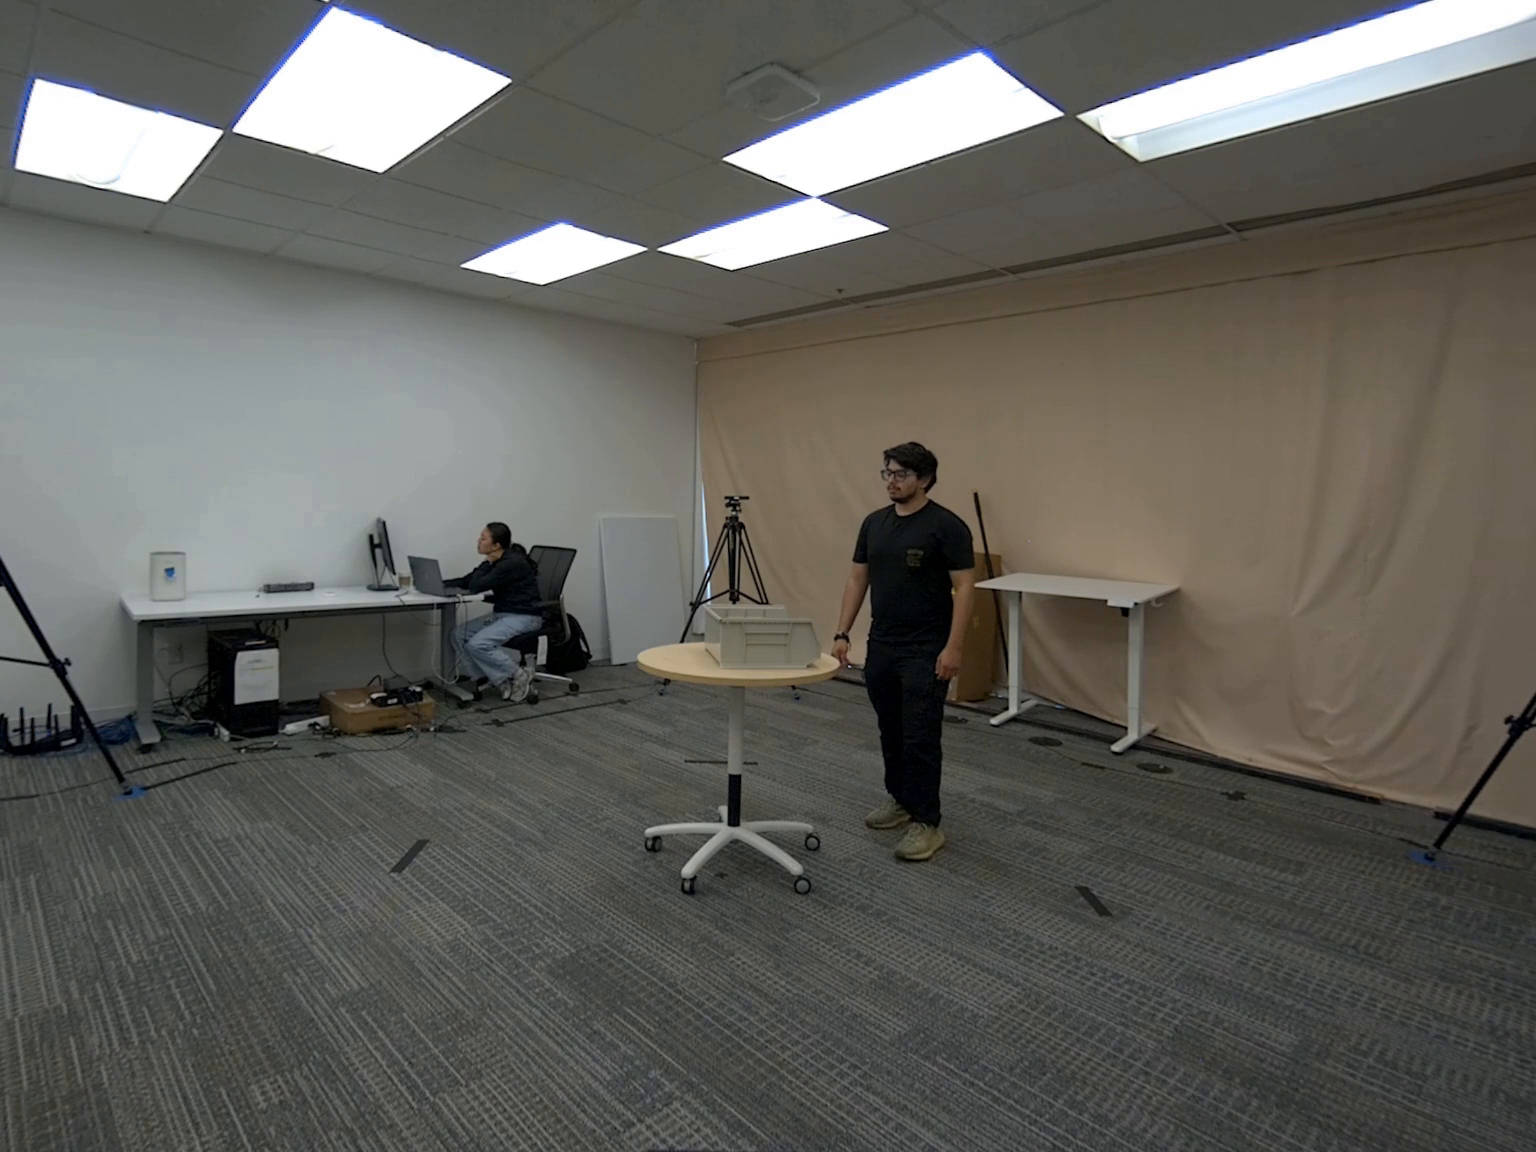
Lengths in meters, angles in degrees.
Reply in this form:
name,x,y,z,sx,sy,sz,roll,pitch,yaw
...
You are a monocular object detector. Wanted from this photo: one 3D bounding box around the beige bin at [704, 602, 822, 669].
name,x,y,z,sx,sy,sz,roll,pitch,yaw
beige bin,-0.041,0.225,3.198,0.374,0.188,0.427,0,5,-12
